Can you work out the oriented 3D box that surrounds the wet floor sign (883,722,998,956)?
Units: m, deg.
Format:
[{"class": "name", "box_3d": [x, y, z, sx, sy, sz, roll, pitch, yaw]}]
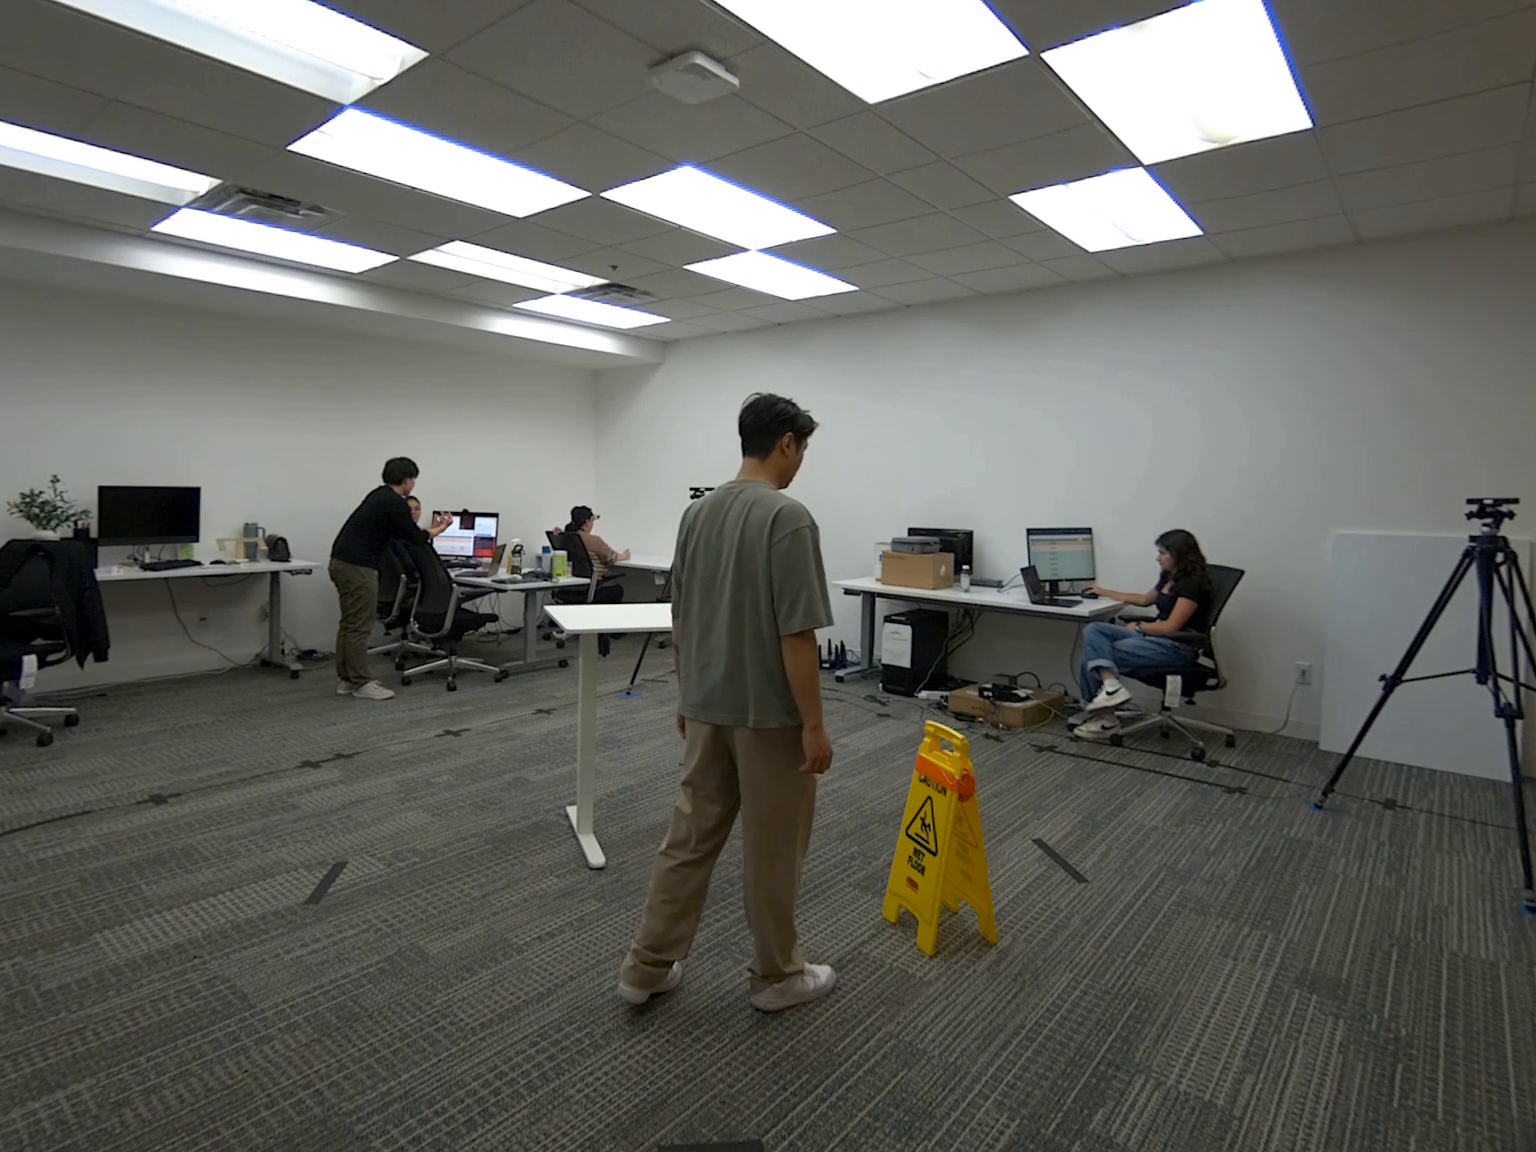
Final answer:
[{"class": "wet floor sign", "box_3d": [0.550, 0.797, 2.703, 0.284, 0.644, 0.289, 1, 4, -21]}]
